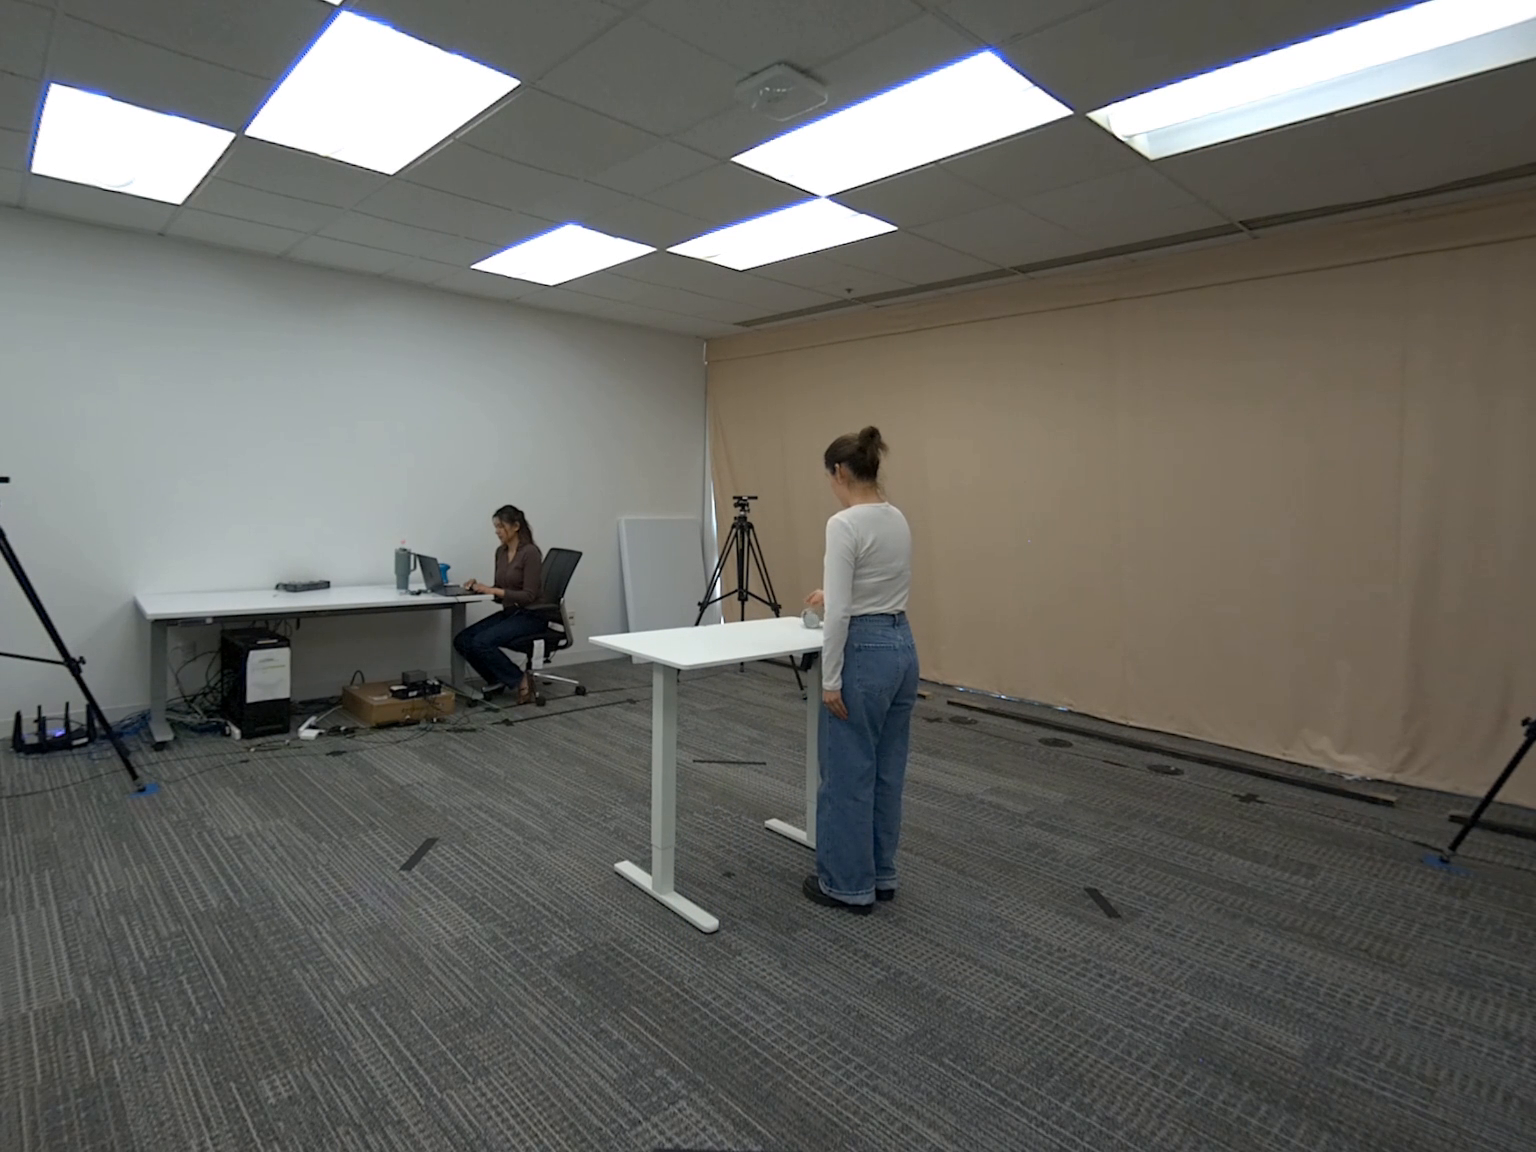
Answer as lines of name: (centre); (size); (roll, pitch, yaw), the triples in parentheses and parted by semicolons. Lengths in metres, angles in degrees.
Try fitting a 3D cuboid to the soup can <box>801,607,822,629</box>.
soup can: (0.162, 0.167, 3.359); (0.067, 0.067, 0.122); (1, 4, -2)
